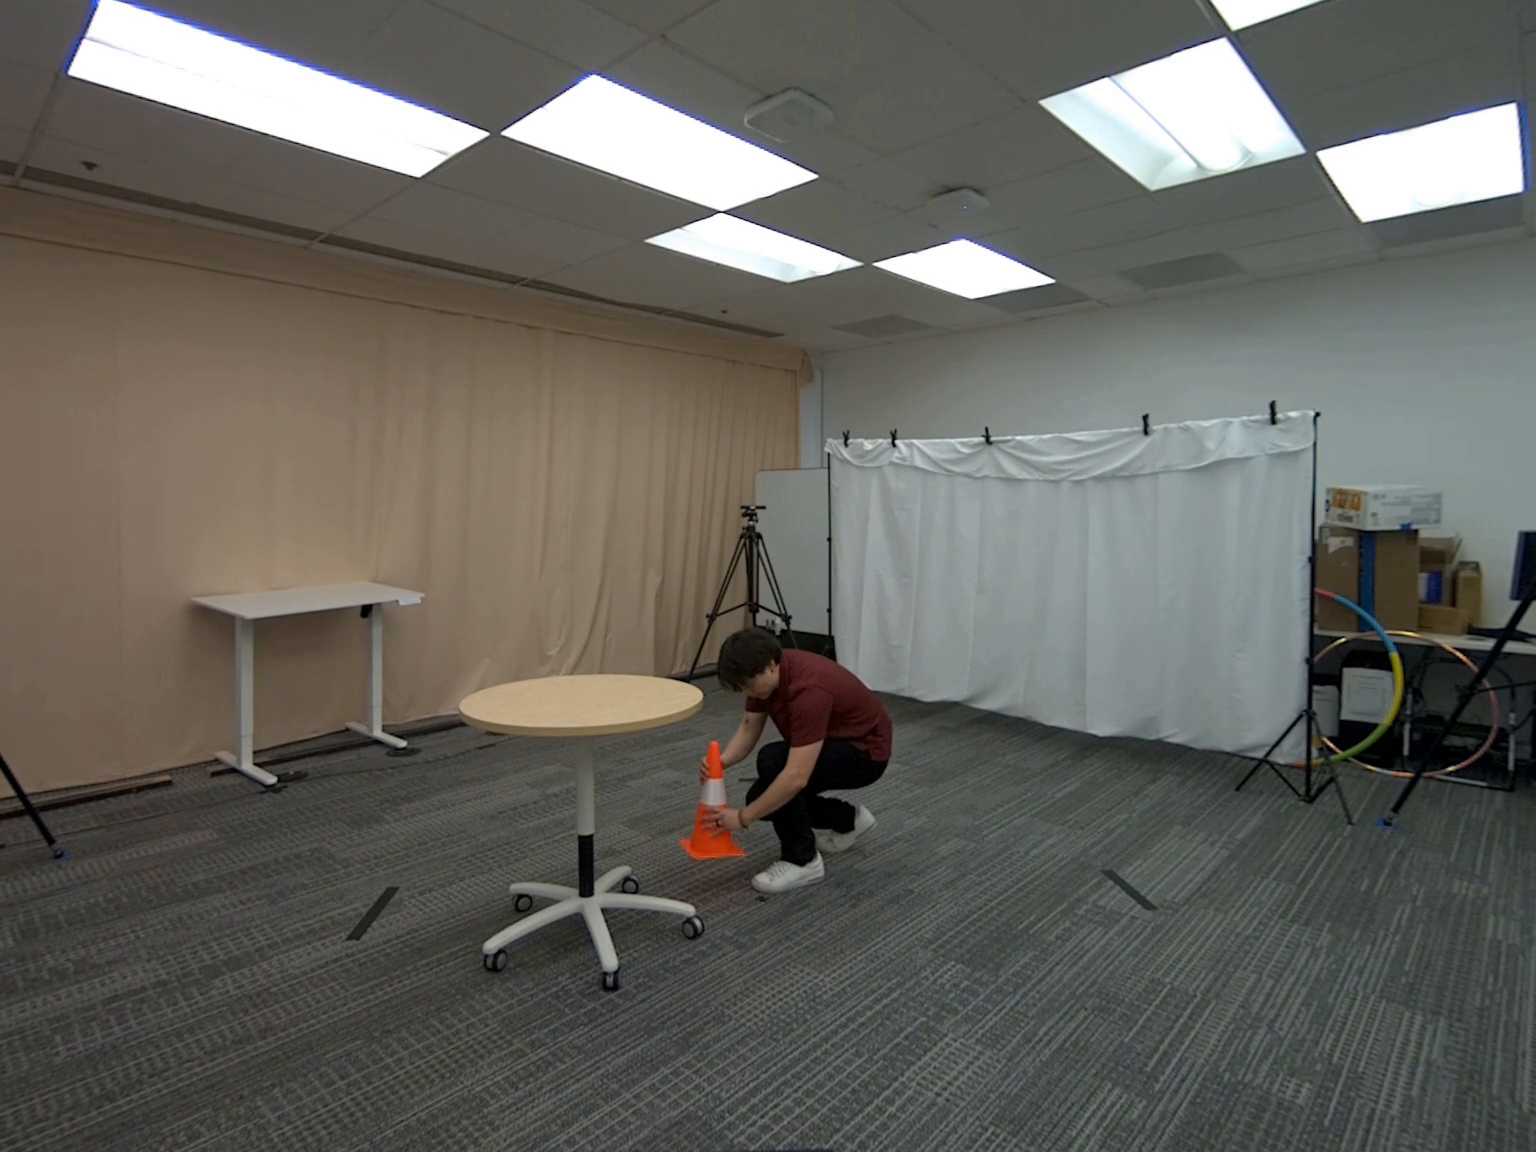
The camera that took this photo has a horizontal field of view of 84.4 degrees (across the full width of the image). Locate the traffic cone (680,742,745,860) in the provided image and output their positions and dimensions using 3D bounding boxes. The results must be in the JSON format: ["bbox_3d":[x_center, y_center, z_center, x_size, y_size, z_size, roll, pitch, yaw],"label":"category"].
[{"bbox_3d":[-0.194,0.809,3.070,0.198,0.384,0.210,2,-1,-24],"label":"traffic cone"}]
